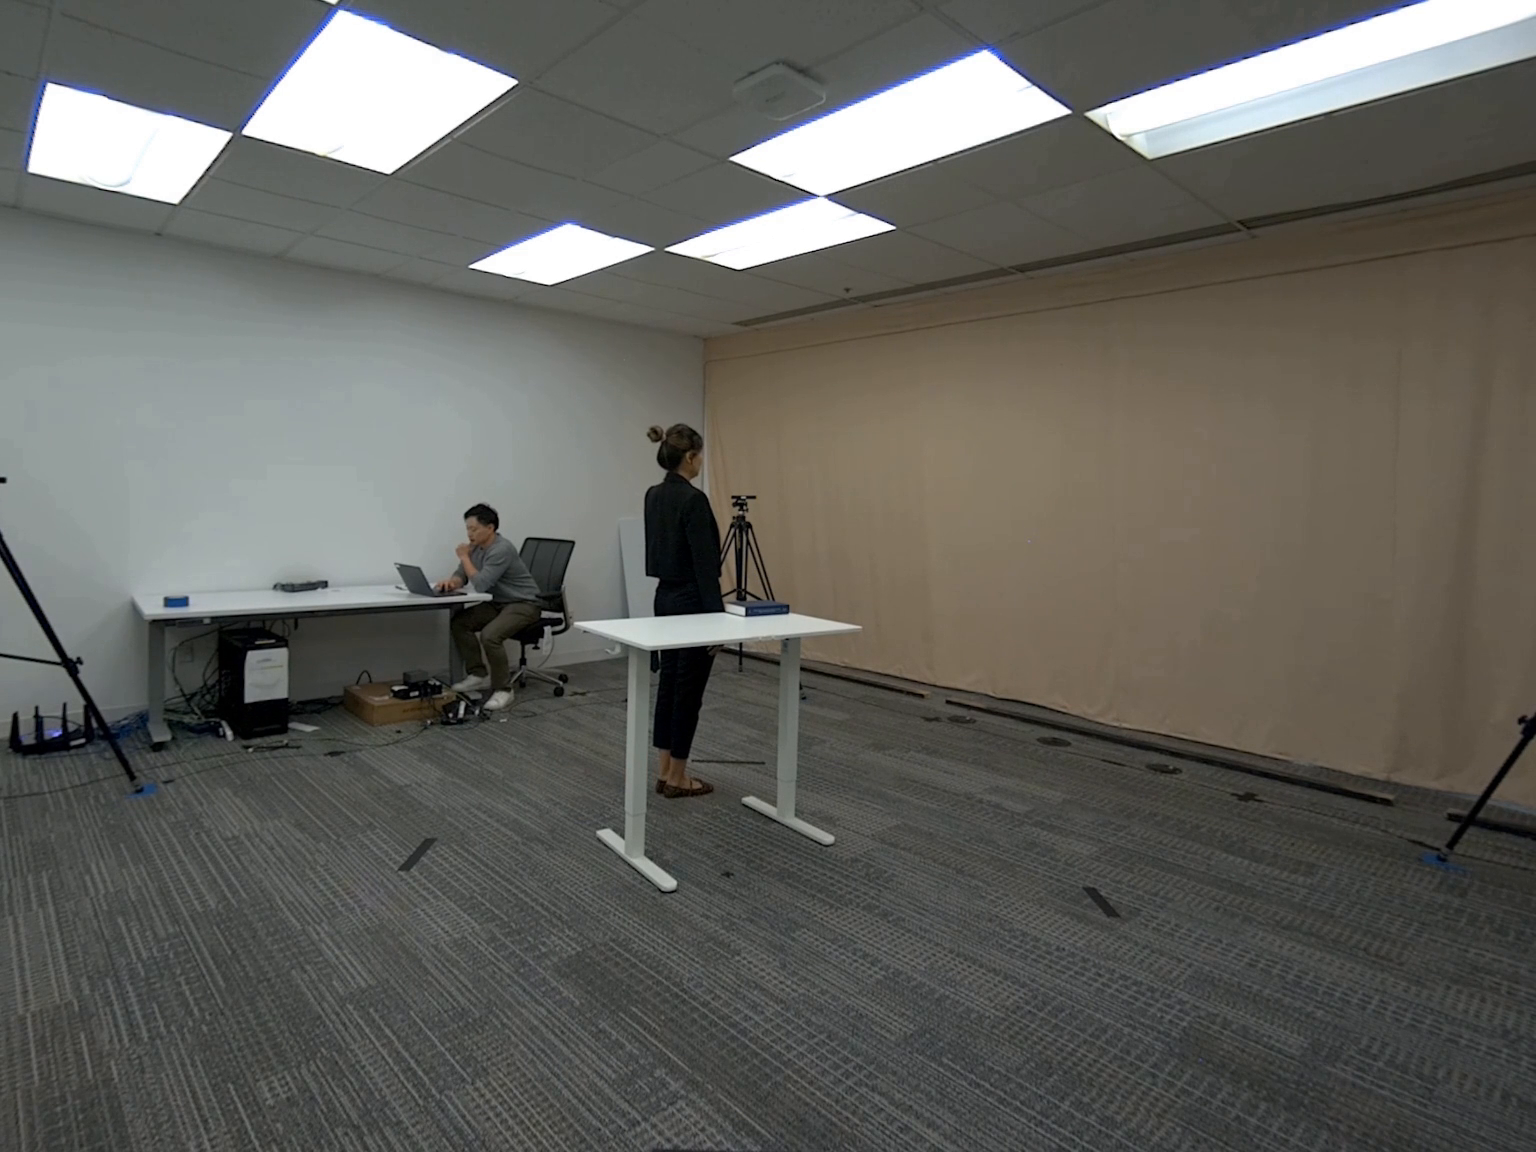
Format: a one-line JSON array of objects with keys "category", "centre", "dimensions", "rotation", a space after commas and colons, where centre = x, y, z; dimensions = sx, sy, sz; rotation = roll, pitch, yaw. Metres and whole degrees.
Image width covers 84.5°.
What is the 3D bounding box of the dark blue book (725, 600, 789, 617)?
[{"category": "dark blue book", "centre": [-0.050, 0.144, 3.739], "dimensions": [0.240, 0.045, 0.167], "rotation": [-2, 7, -32]}]
